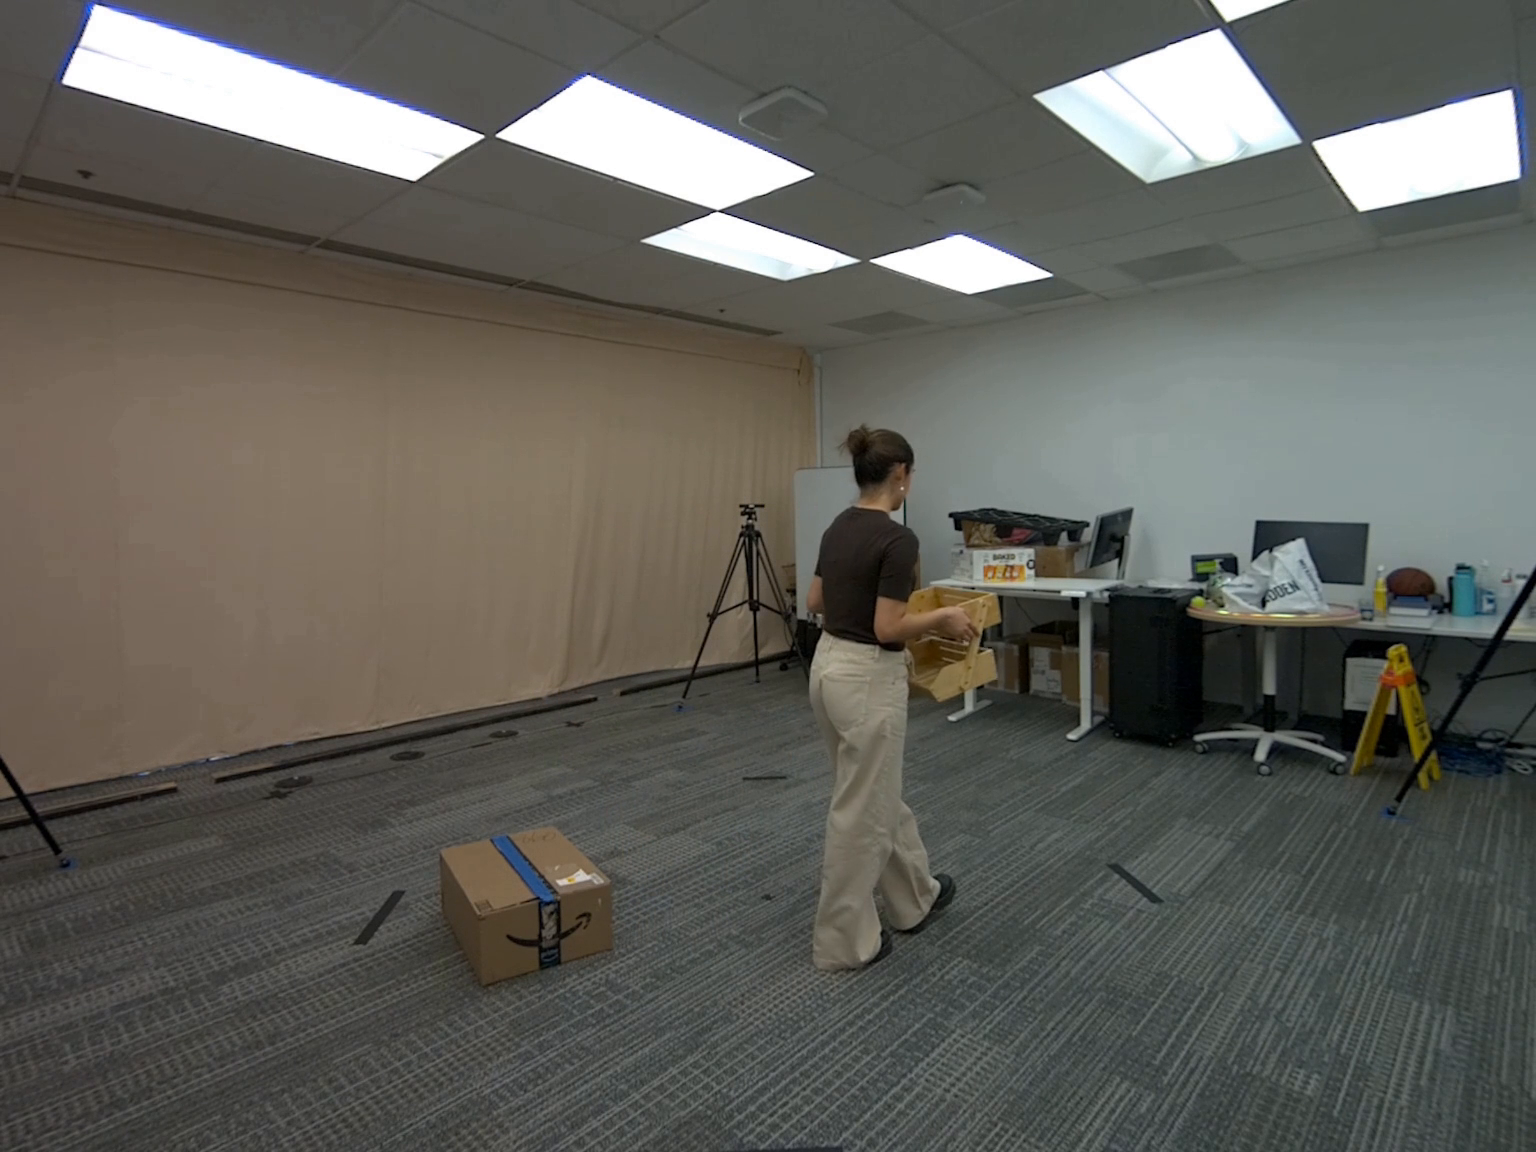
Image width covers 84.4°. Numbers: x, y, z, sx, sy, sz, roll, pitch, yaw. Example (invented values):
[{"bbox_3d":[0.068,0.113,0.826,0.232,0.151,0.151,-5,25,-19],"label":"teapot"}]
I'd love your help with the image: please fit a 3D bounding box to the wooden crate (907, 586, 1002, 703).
[{"bbox_3d":[0.538,0.204,2.674,0.296,0.271,0.333,-15,10,-23],"label":"wooden crate"}]
